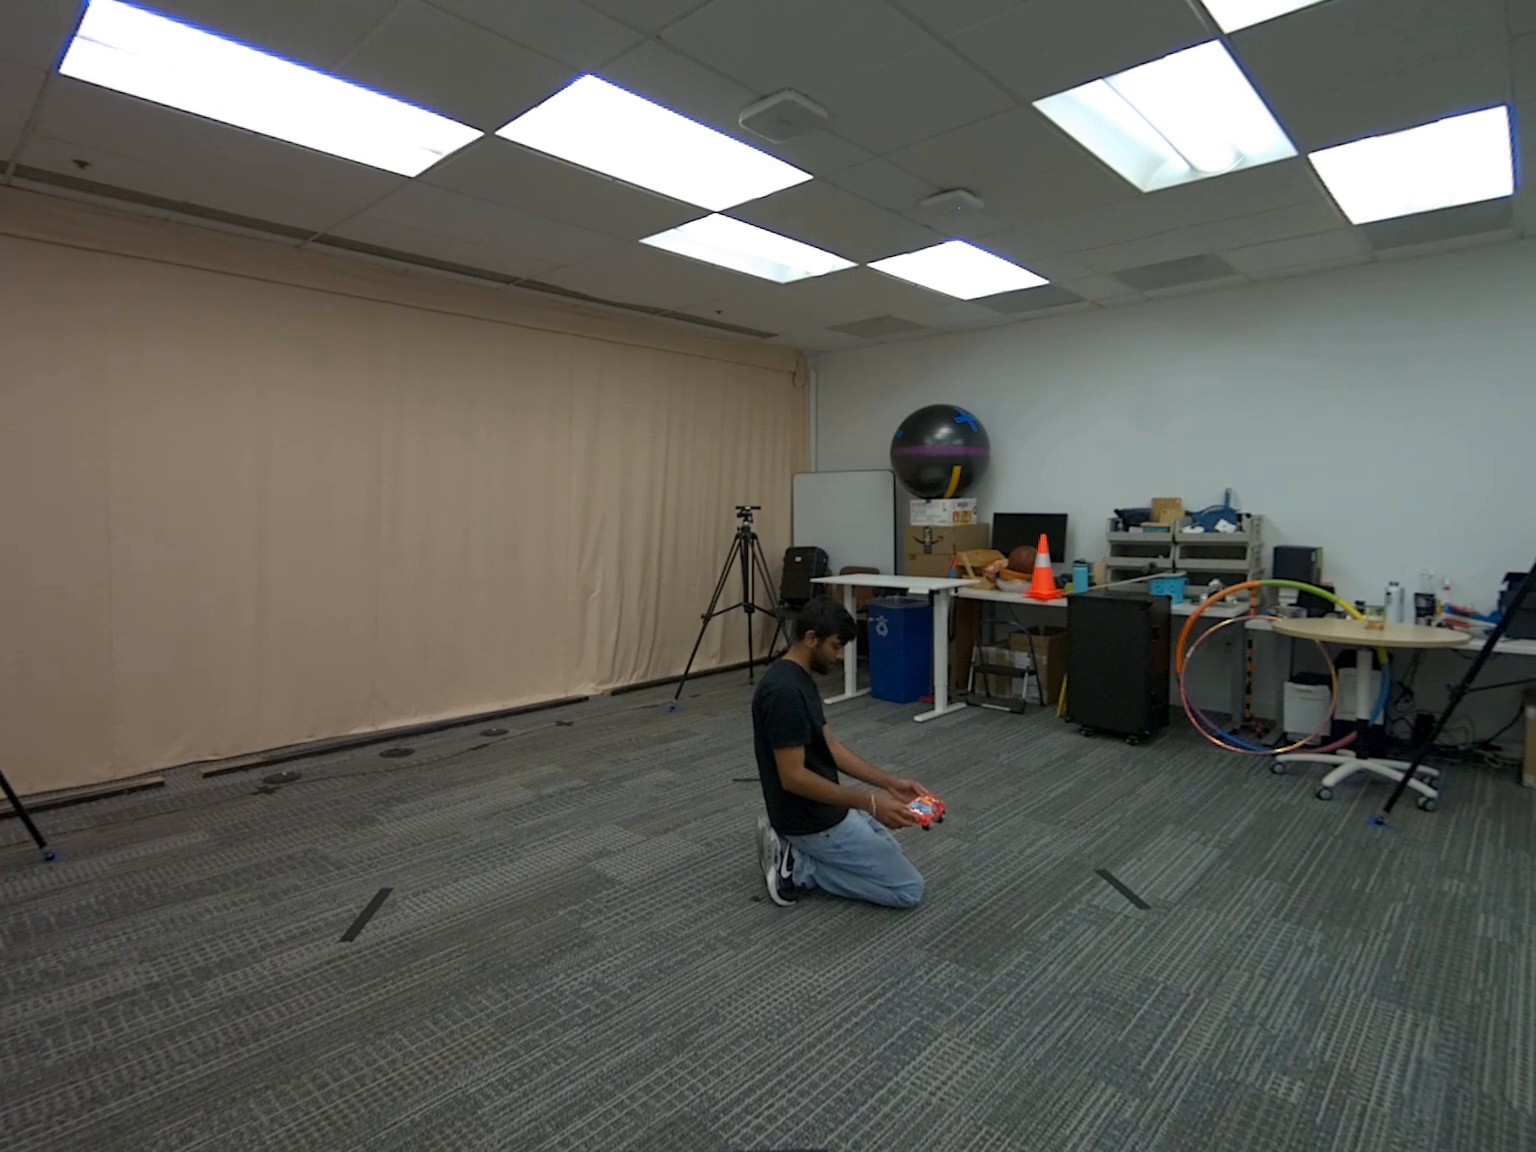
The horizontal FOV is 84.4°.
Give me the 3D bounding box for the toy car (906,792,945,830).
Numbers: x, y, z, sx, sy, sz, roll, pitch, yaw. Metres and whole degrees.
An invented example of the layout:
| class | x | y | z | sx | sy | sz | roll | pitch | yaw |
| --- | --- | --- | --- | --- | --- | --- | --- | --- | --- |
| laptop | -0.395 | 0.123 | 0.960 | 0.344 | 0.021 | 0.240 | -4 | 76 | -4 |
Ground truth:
| class | x | y | z | sx | sy | sz | roll | pitch | yaw |
| --- | --- | --- | --- | --- | --- | --- | --- | --- | --- |
| toy car | 0.536 | 0.803 | 2.865 | 0.134 | 0.083 | 0.248 | 11 | 12 | 28 |
